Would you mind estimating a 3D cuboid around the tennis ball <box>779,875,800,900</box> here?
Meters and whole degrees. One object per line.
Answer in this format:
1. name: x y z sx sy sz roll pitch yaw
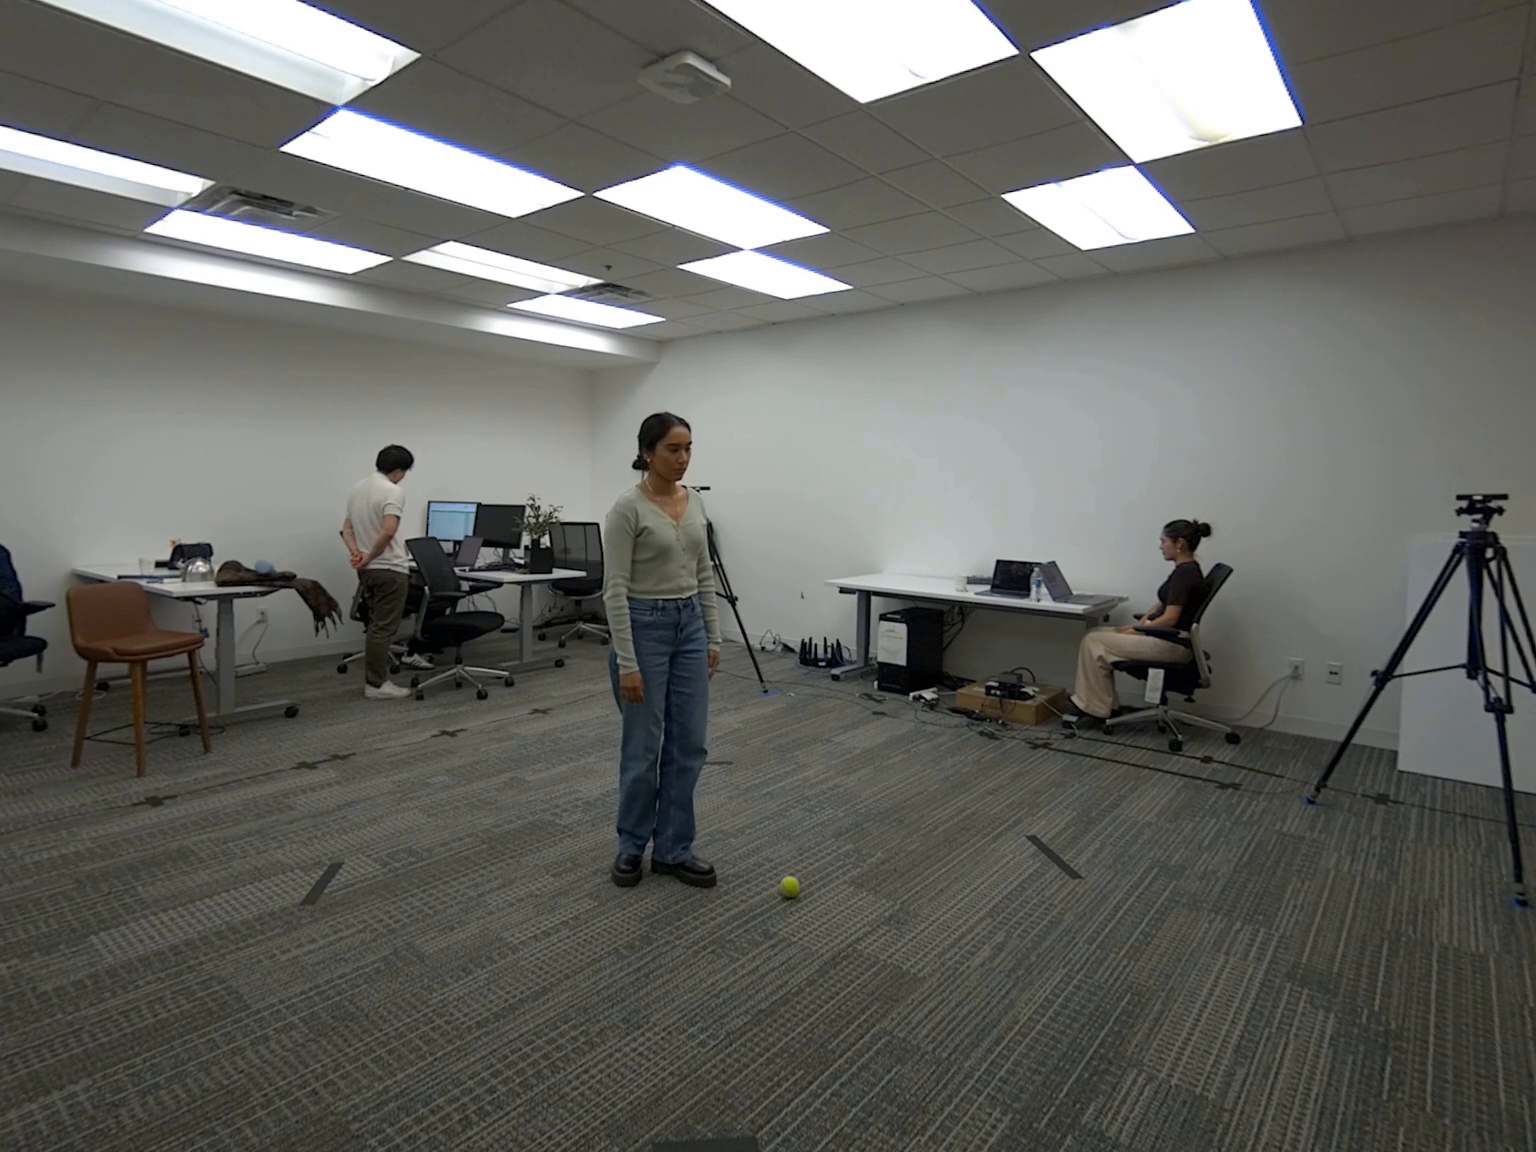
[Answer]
1. tennis ball: 0.072 1.040 2.897 0.066 0.066 0.067 1 4 -2
